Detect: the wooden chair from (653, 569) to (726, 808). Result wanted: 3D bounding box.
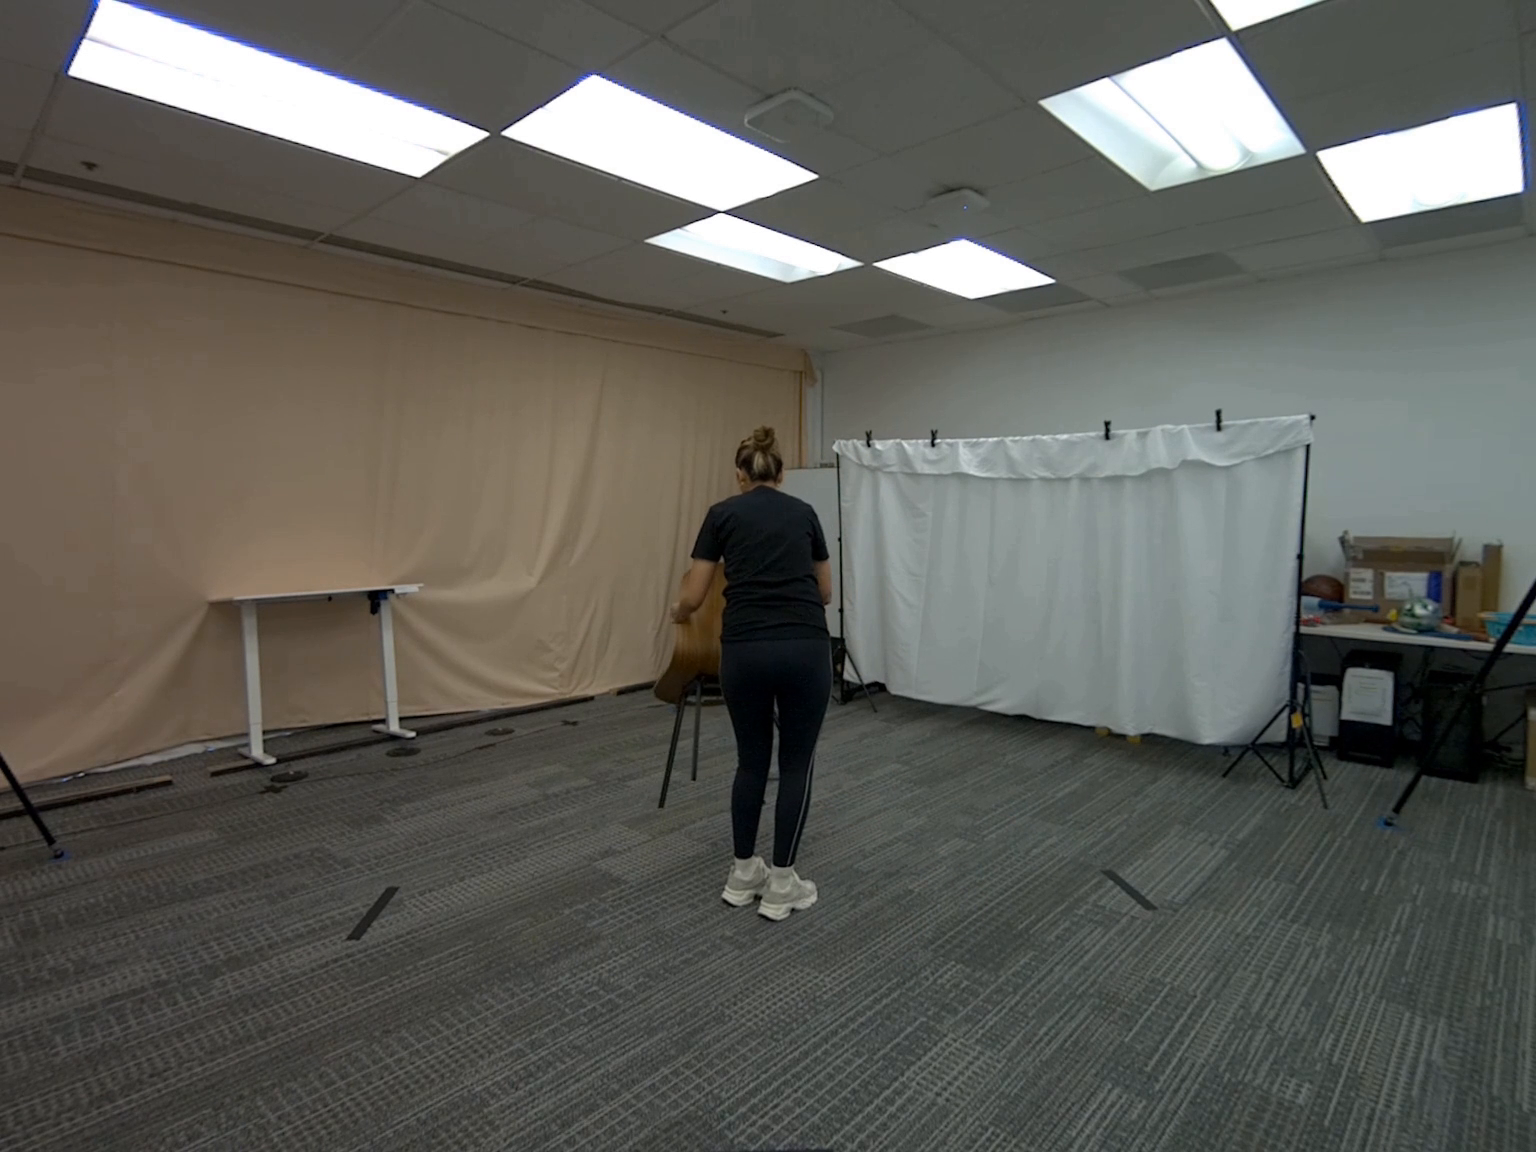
[{"bbox_3d":[-0.193,0.446,3.379,0.468,0.891,0.525,3,-25,-20],"label":"wooden chair"}]
